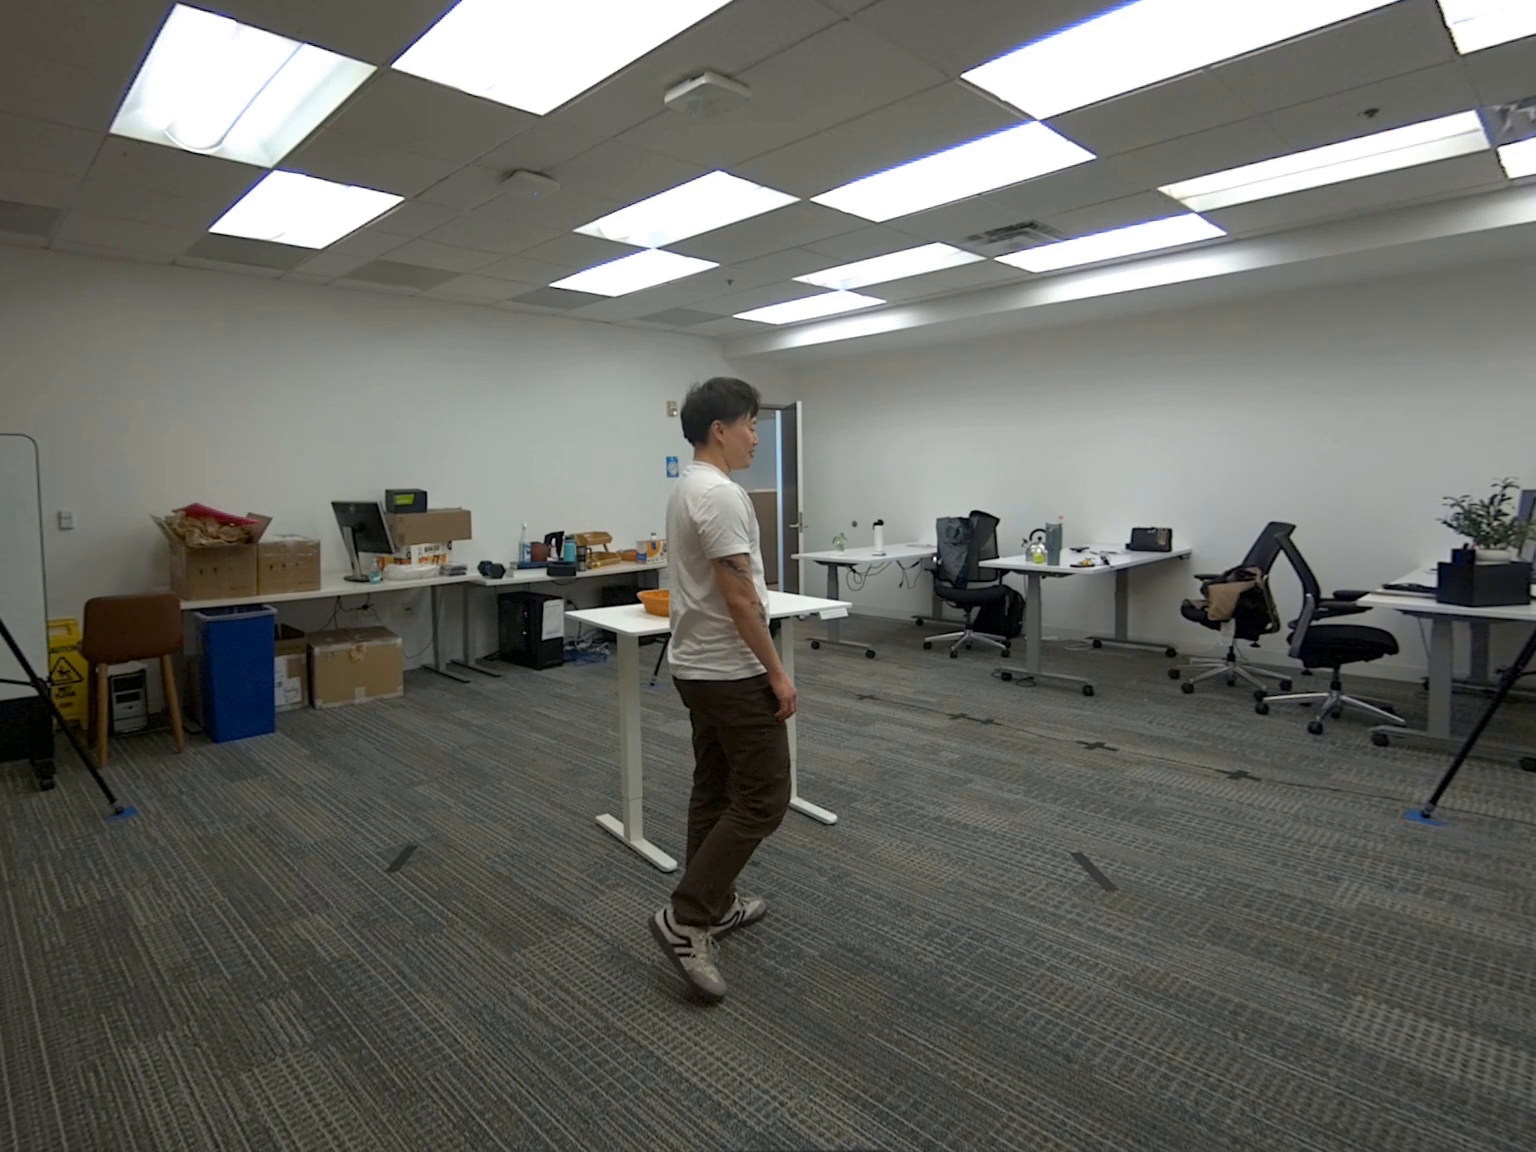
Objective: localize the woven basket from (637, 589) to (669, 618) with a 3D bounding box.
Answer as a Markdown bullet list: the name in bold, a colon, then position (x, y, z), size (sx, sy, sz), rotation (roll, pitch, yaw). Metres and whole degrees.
- **woven basket**: position (-0.367, 0.114, 3.355), size (0.246, 0.073, 0.360), rotation (-4, 7, -31)
